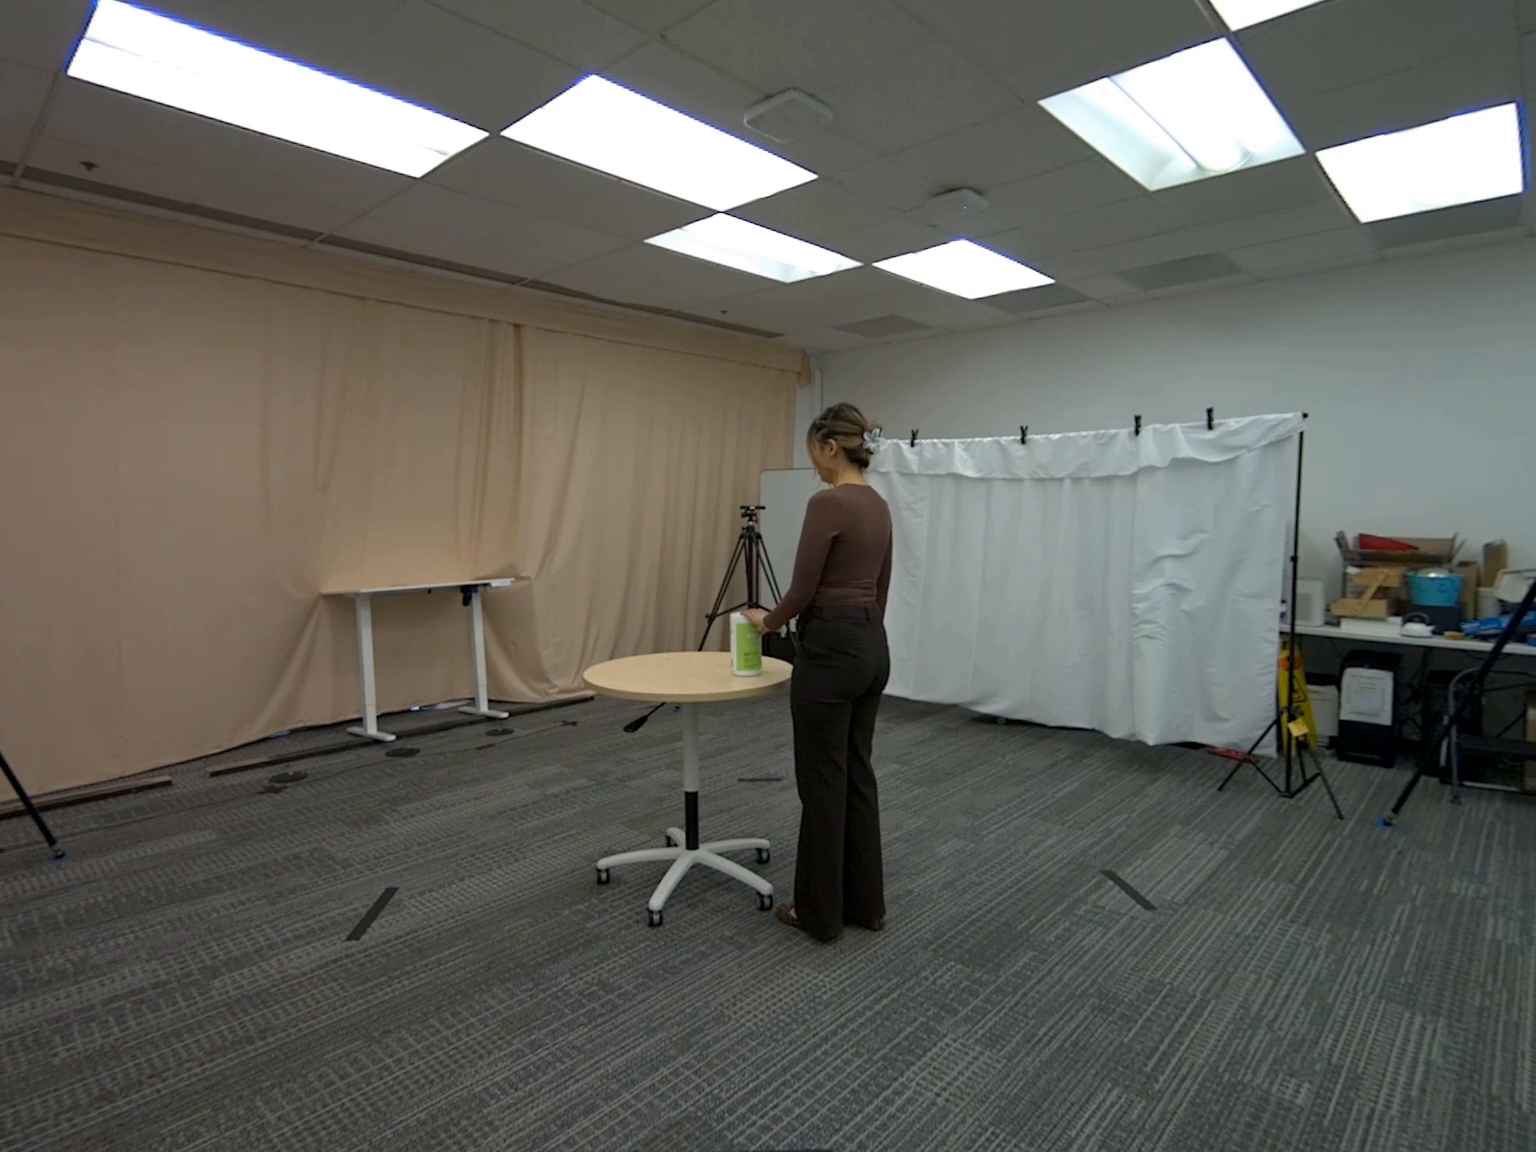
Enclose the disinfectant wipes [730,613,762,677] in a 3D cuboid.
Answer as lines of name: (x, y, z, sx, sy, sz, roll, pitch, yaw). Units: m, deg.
disinfectant wipes: (-0.072, 0.240, 2.974, 0.118, 0.217, 0.118, 0, 4, -2)
